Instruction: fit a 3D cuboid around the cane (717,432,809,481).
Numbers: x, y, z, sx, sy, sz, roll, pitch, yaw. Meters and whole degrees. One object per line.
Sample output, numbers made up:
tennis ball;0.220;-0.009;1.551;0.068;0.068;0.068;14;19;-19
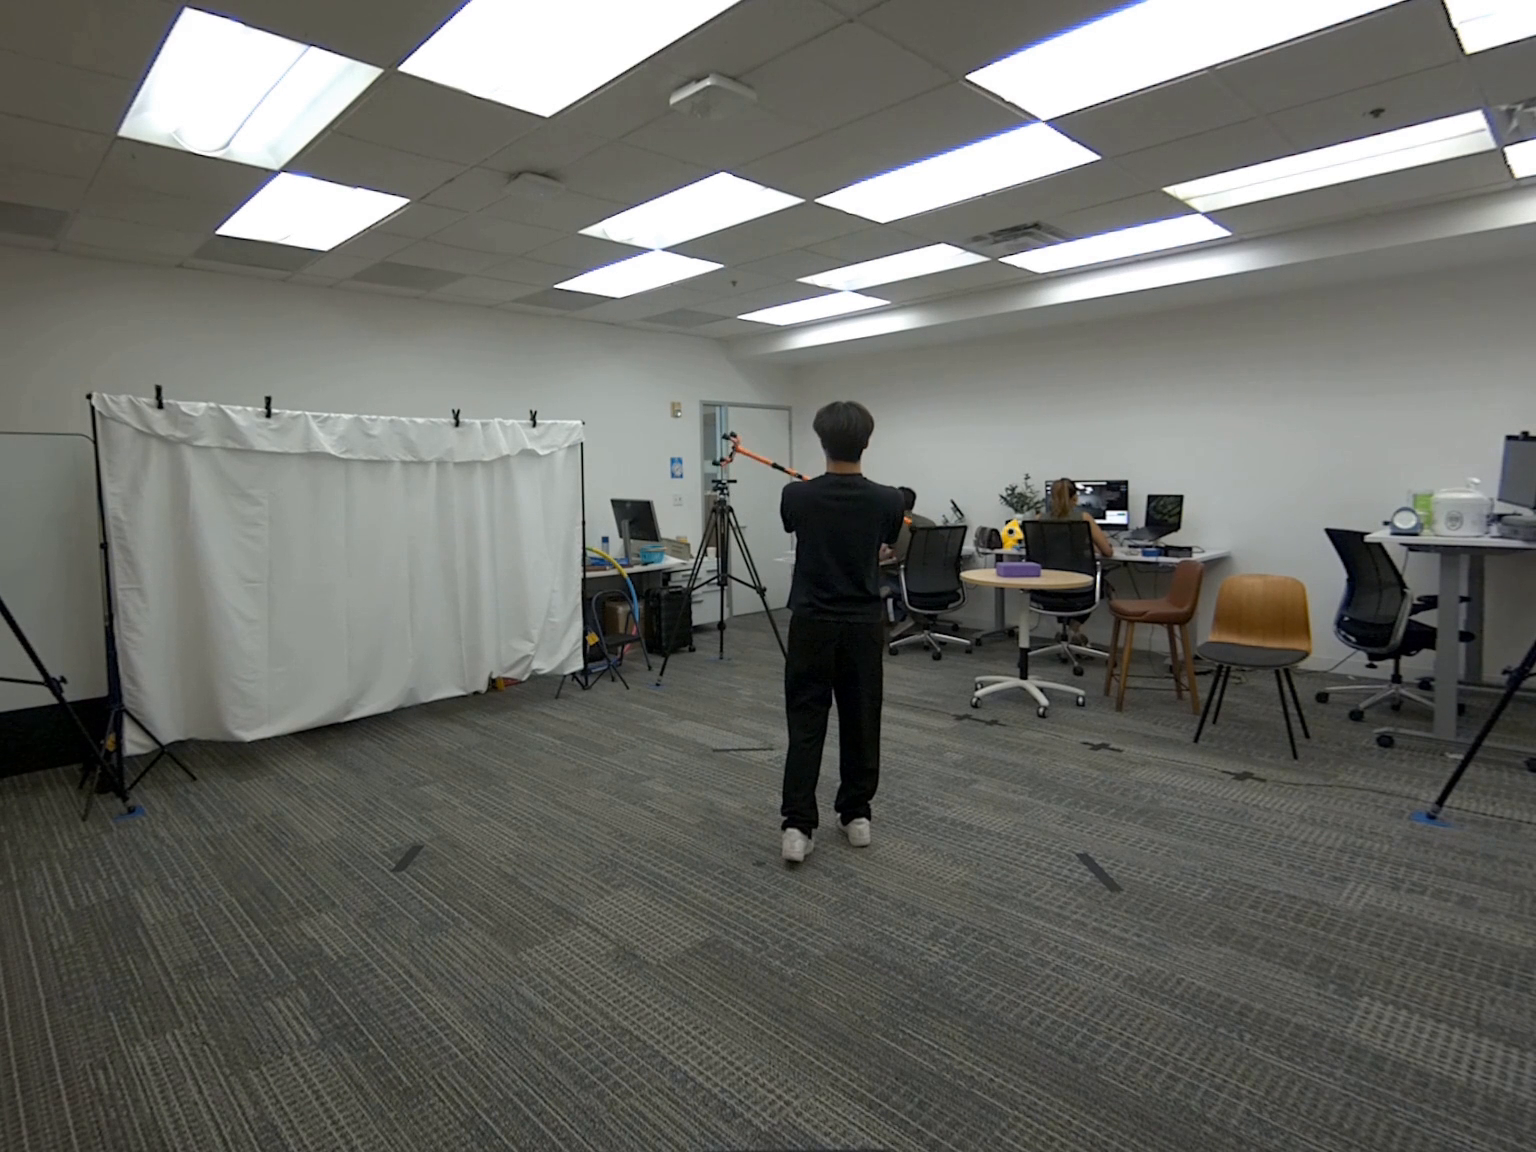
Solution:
cane;0.214;-0.380;3.722;0.915;0.150;0.206;25;14;6
